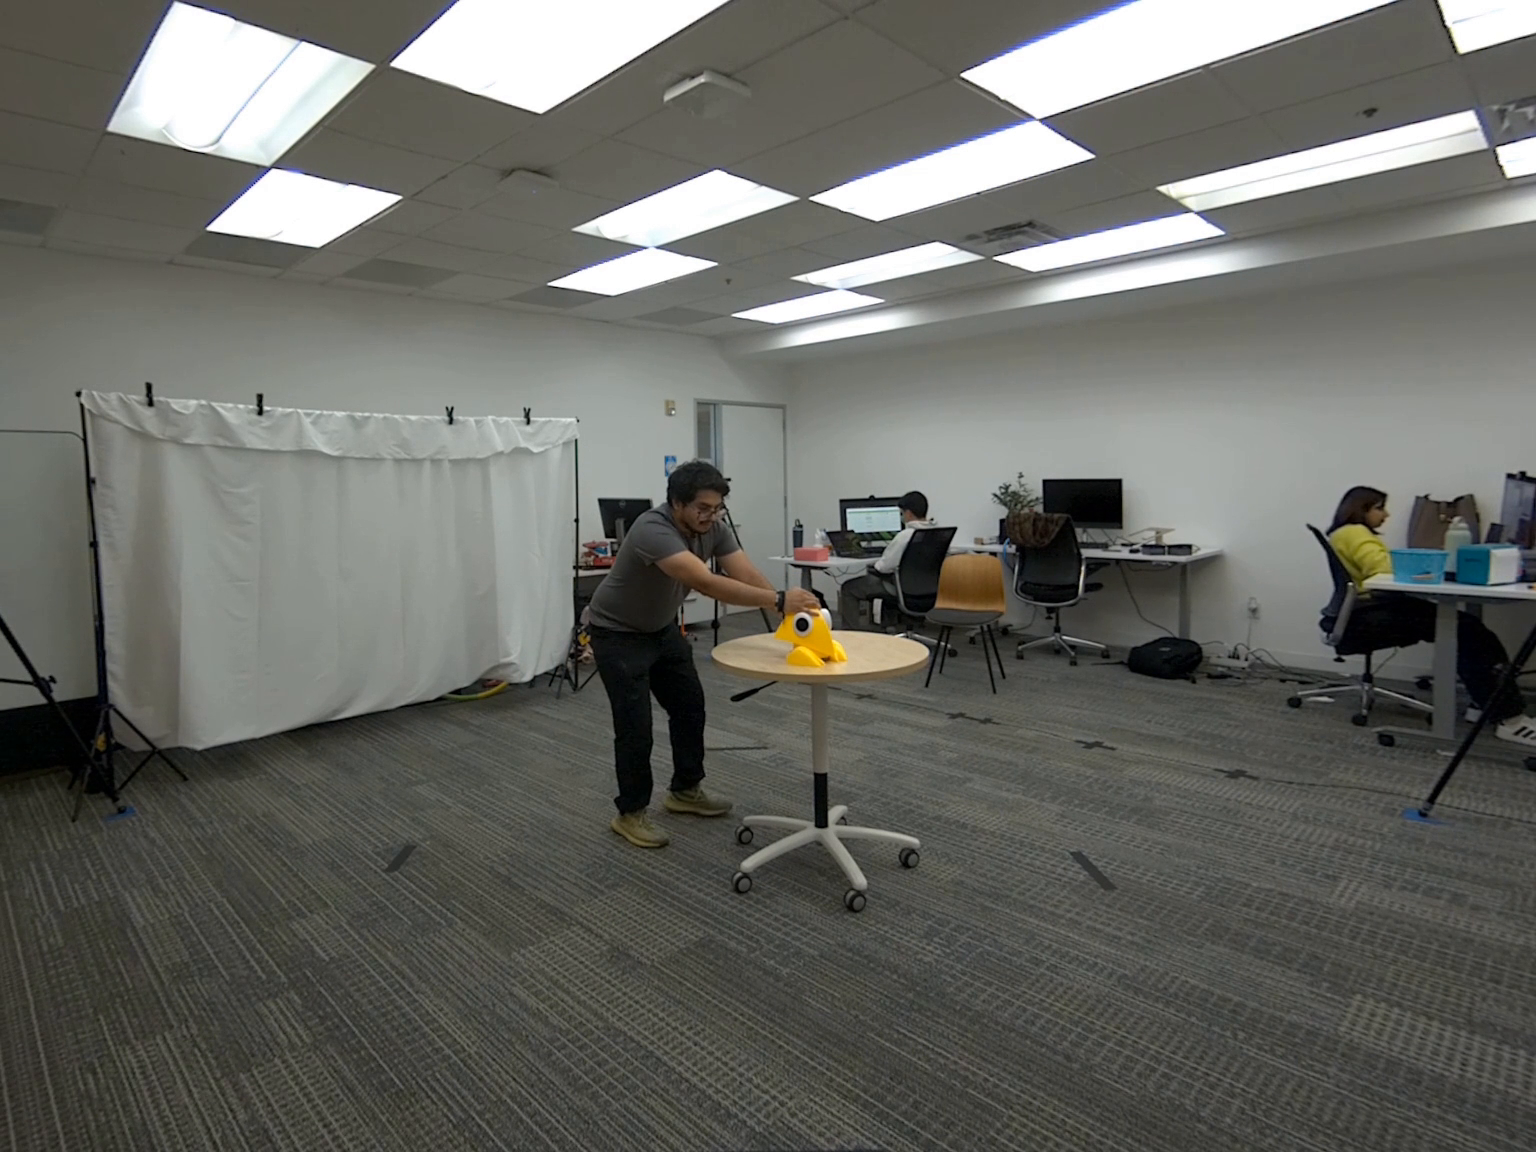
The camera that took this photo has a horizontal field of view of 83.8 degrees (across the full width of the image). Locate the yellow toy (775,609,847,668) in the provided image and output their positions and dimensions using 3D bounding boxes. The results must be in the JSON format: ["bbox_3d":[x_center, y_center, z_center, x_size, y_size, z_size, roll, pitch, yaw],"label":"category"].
[{"bbox_3d":[0.166,0.171,2.872,0.199,0.230,0.199,-6,7,-41],"label":"yellow toy"}]
